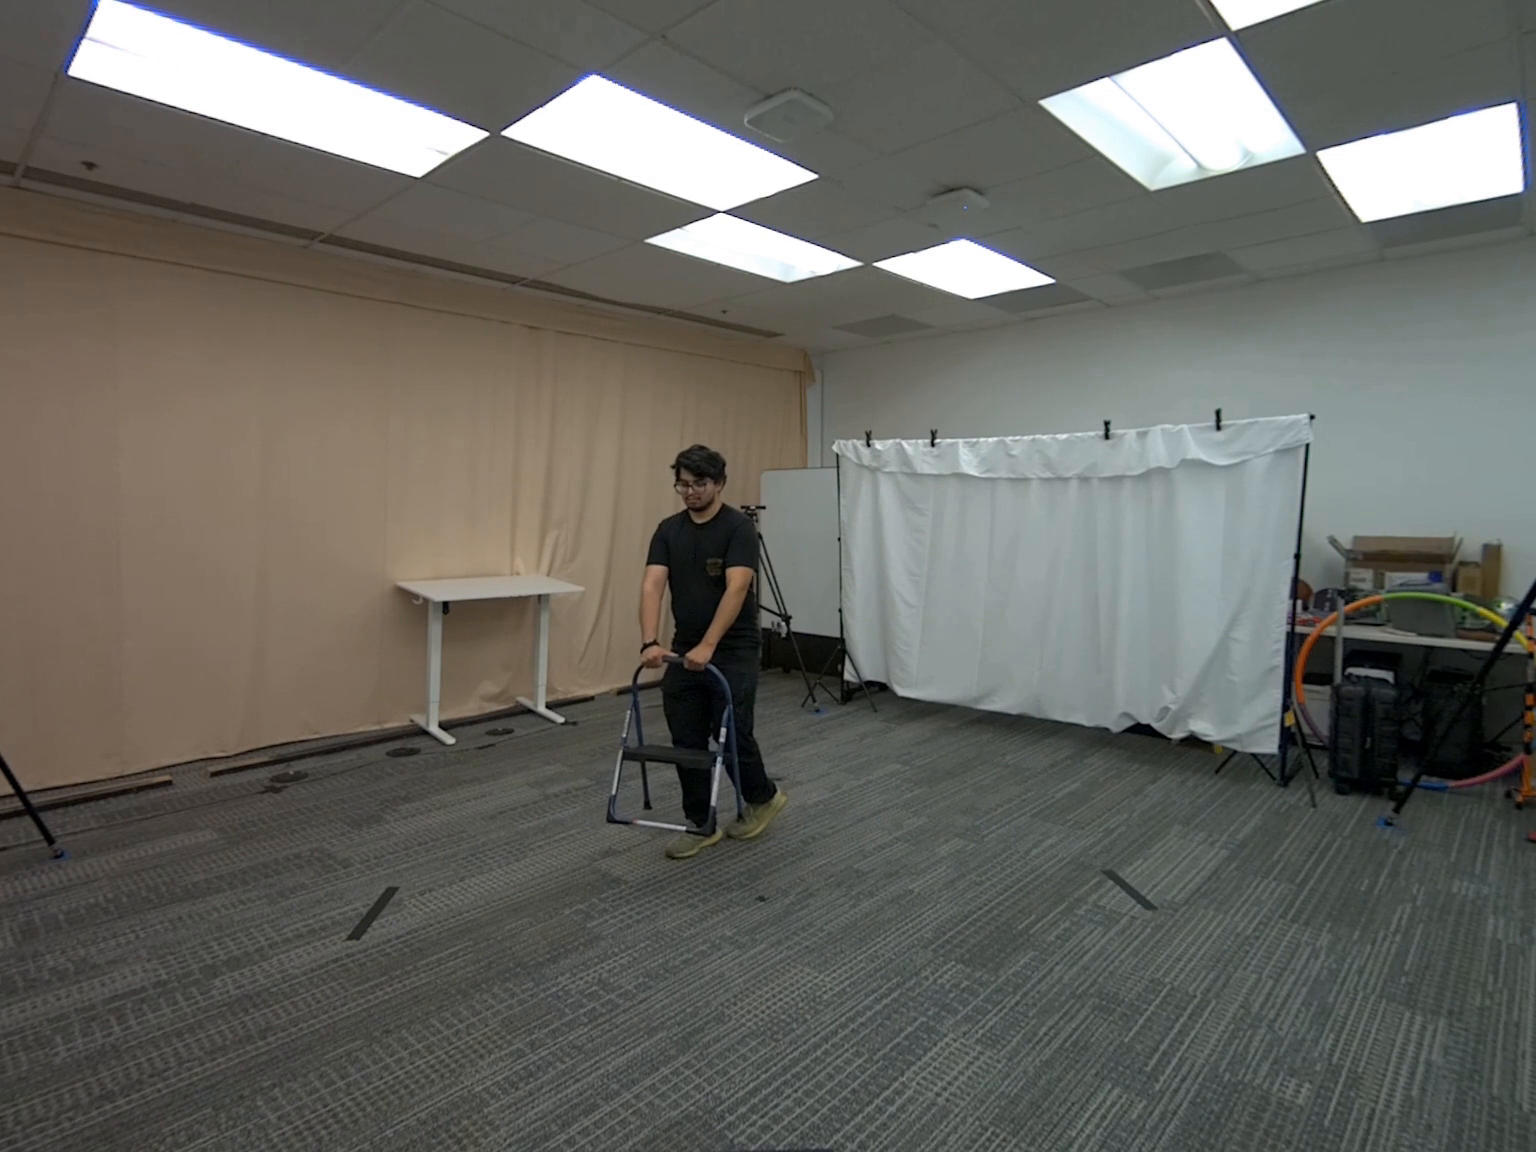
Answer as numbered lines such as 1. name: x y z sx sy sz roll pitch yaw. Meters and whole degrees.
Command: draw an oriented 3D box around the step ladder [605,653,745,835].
1. step ladder: -0.326 0.613 3.156 0.440 0.608 0.340 0 -7 21
